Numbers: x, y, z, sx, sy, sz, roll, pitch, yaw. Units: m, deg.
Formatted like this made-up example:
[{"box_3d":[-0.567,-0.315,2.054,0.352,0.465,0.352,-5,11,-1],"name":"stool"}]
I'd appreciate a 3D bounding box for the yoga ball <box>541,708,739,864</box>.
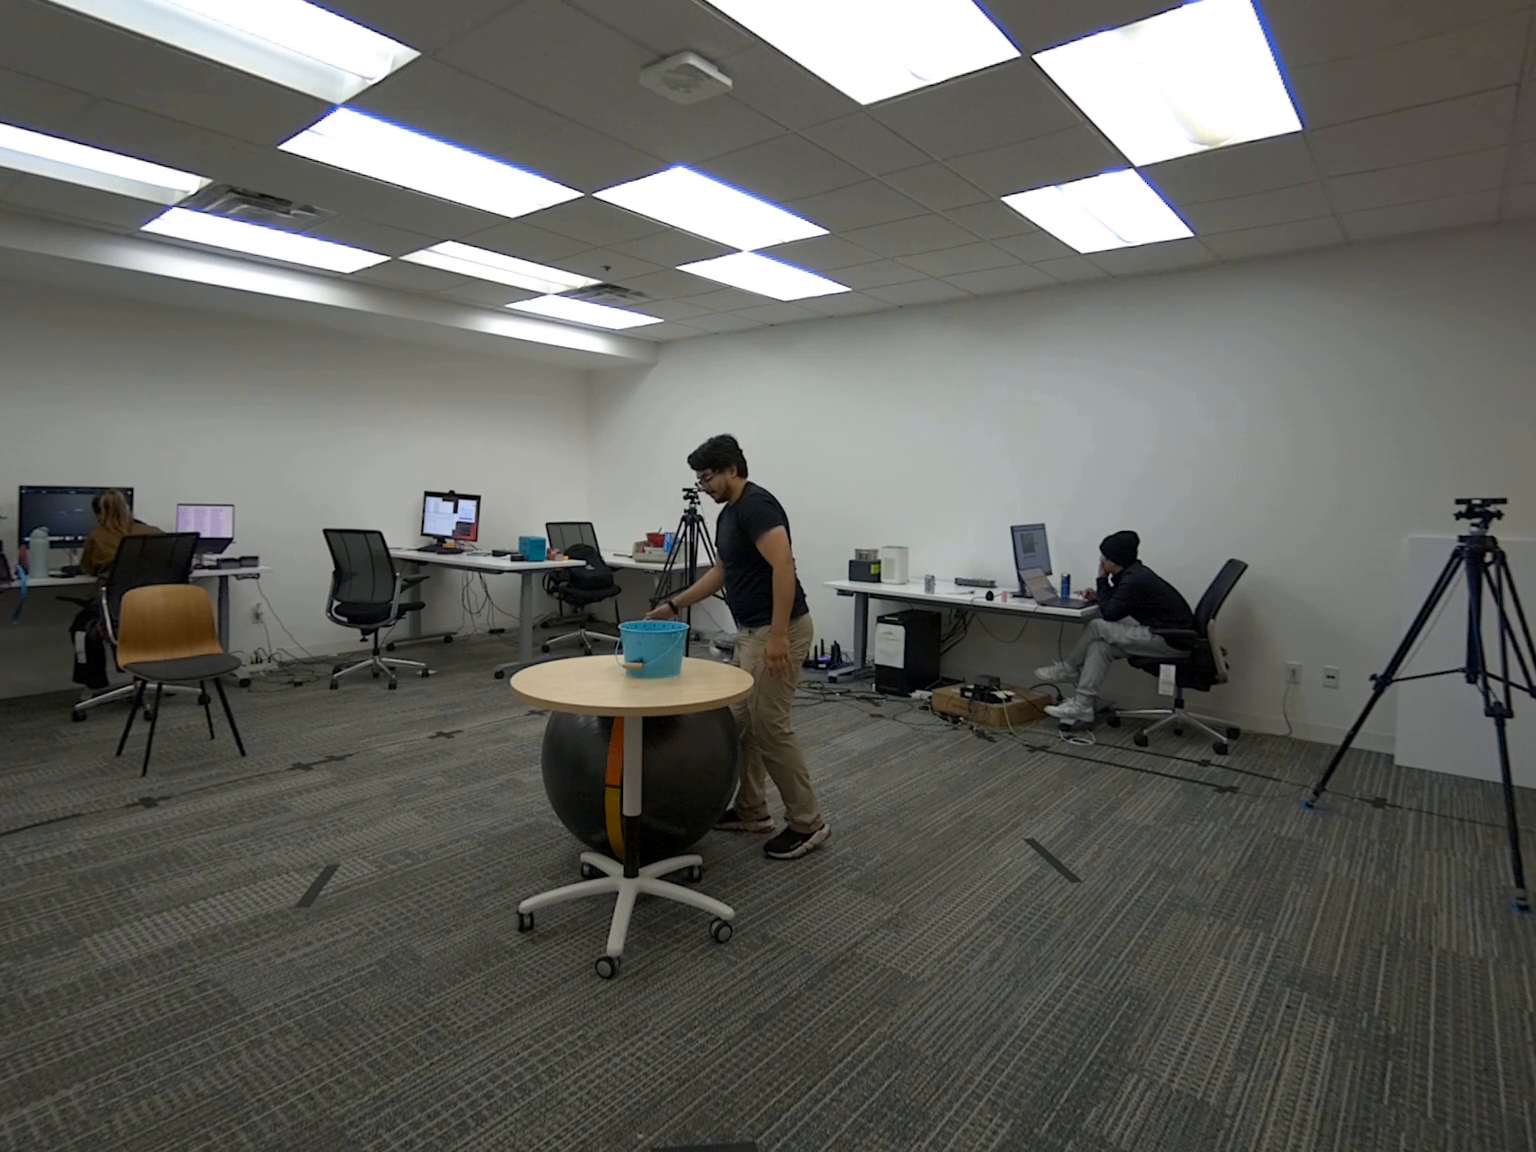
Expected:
[{"box_3d":[-0.503,0.690,3.264,0.757,0.755,0.762,1,4,-2],"name":"yoga ball"}]
